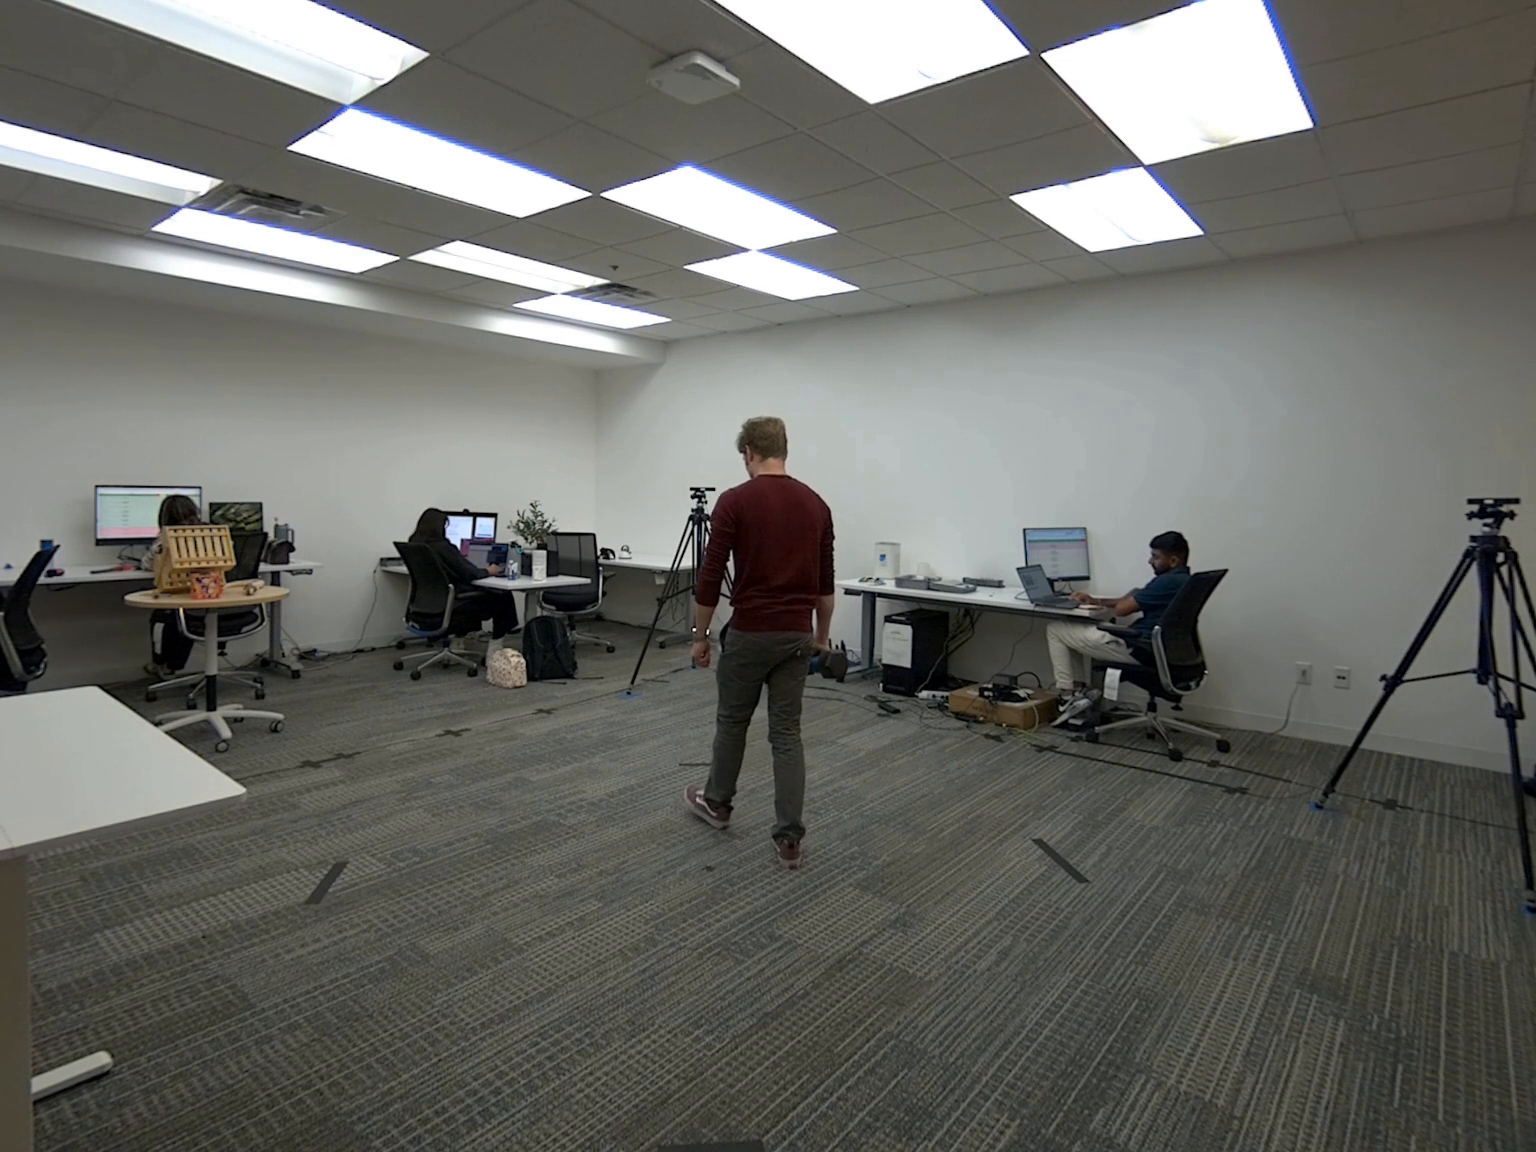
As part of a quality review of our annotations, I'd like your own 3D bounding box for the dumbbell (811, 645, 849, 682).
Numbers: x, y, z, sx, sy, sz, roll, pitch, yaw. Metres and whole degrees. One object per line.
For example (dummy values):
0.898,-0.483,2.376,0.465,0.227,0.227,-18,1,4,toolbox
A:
0.190,0.347,3.429,0.108,0.121,0.300,-39,16,-28,dumbbell
